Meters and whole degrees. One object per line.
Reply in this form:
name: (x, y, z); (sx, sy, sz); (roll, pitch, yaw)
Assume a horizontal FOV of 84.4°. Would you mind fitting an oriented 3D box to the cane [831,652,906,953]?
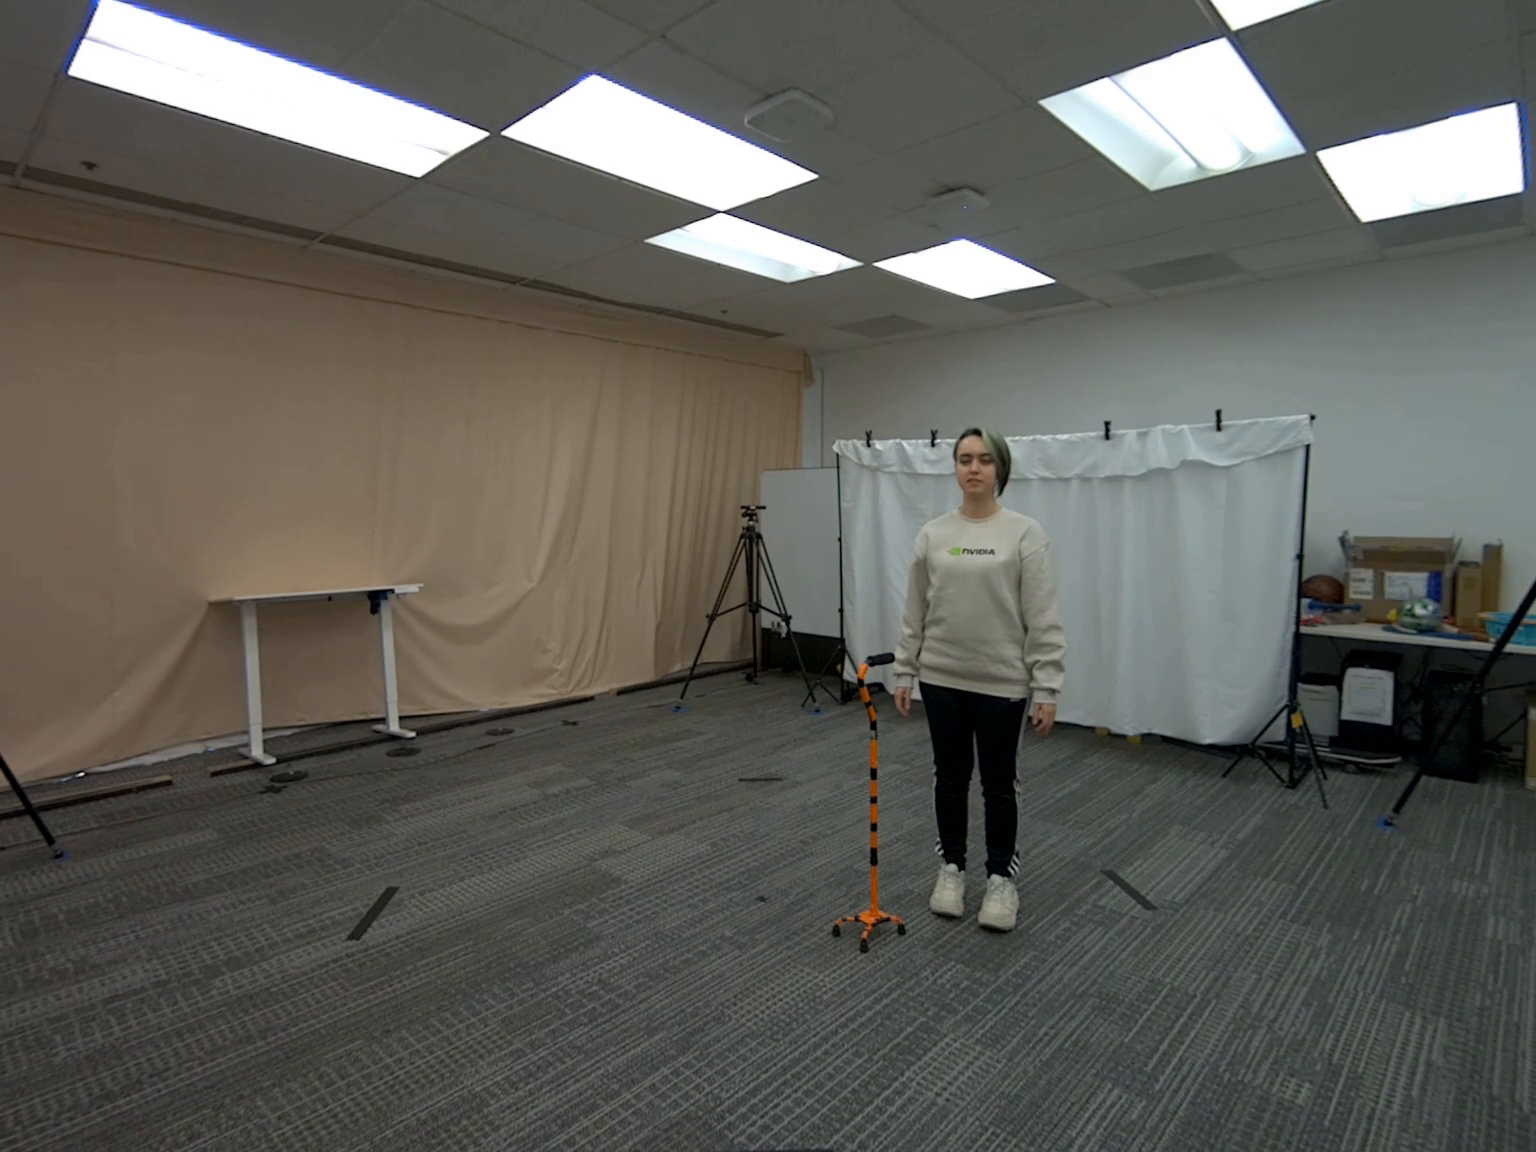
cane: (0.329, 0.713, 2.707); (0.200, 0.906, 0.156); (-4, 4, -37)
